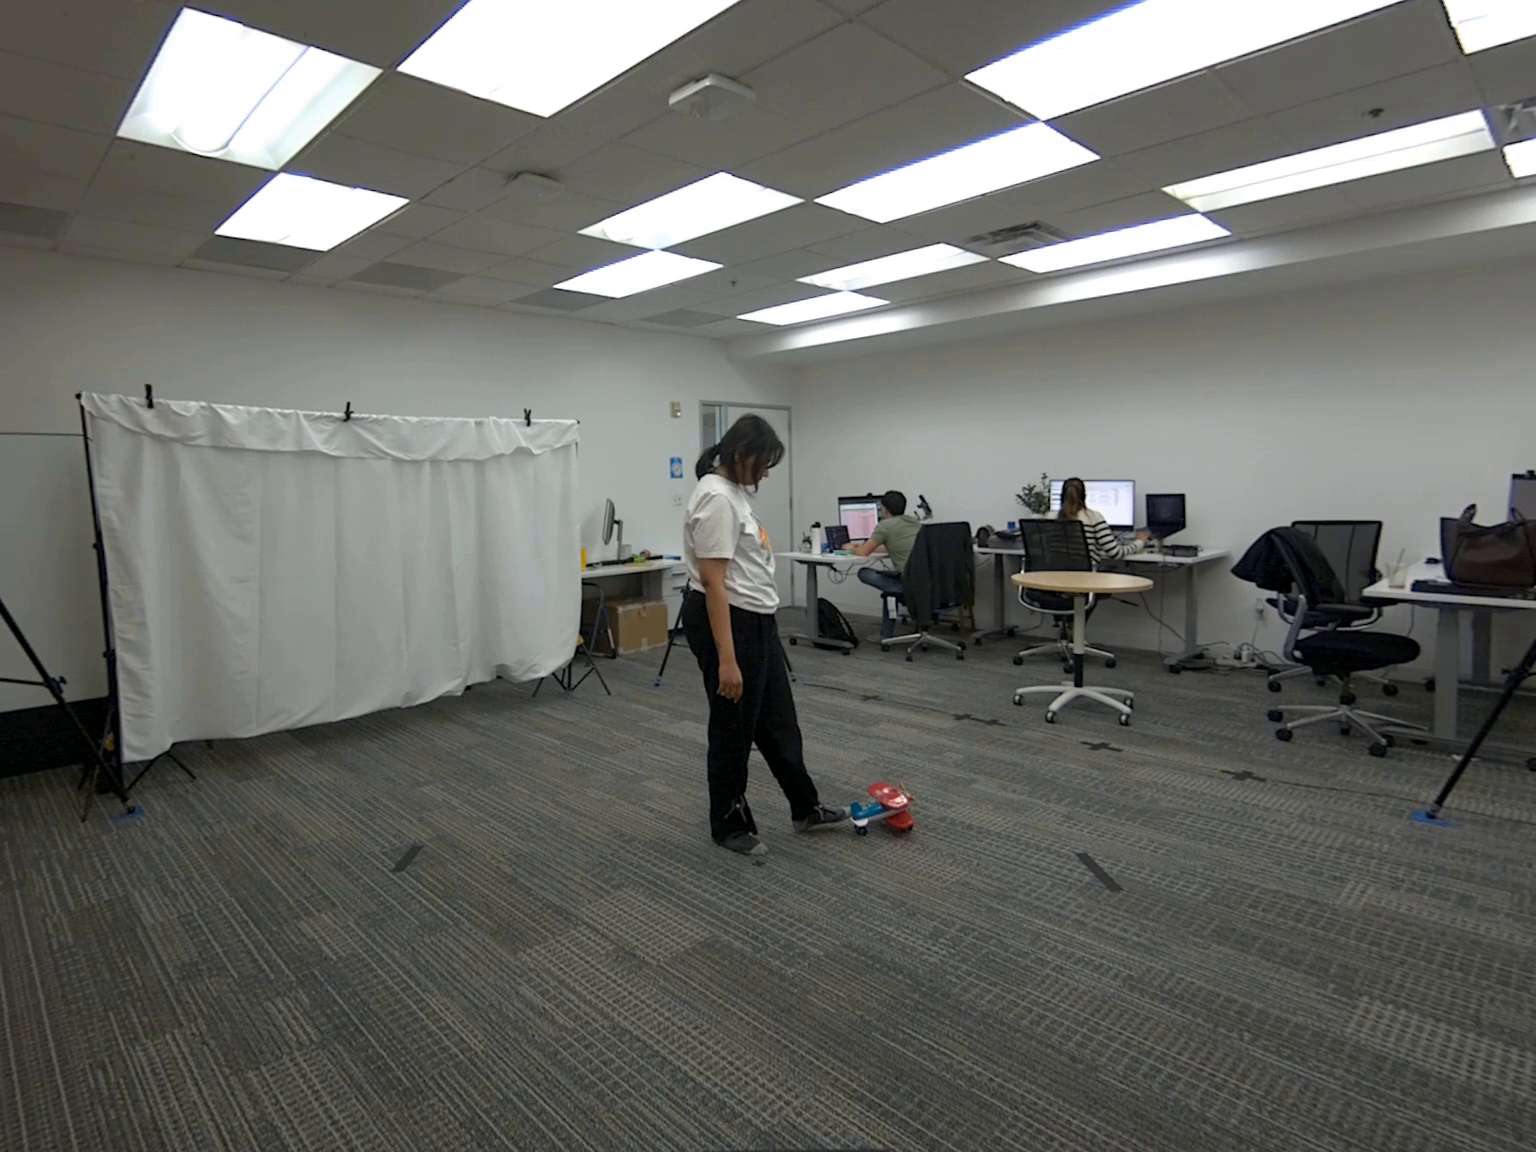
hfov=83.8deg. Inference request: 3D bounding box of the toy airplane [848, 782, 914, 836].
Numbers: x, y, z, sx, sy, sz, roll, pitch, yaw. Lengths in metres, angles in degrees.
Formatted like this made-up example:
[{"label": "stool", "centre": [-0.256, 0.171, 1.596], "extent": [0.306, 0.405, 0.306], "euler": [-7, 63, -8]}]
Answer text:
[{"label": "toy airplane", "centre": [0.454, 0.931, 3.372], "extent": [0.252, 0.156, 0.259], "euler": [-5, 7, -43]}]
